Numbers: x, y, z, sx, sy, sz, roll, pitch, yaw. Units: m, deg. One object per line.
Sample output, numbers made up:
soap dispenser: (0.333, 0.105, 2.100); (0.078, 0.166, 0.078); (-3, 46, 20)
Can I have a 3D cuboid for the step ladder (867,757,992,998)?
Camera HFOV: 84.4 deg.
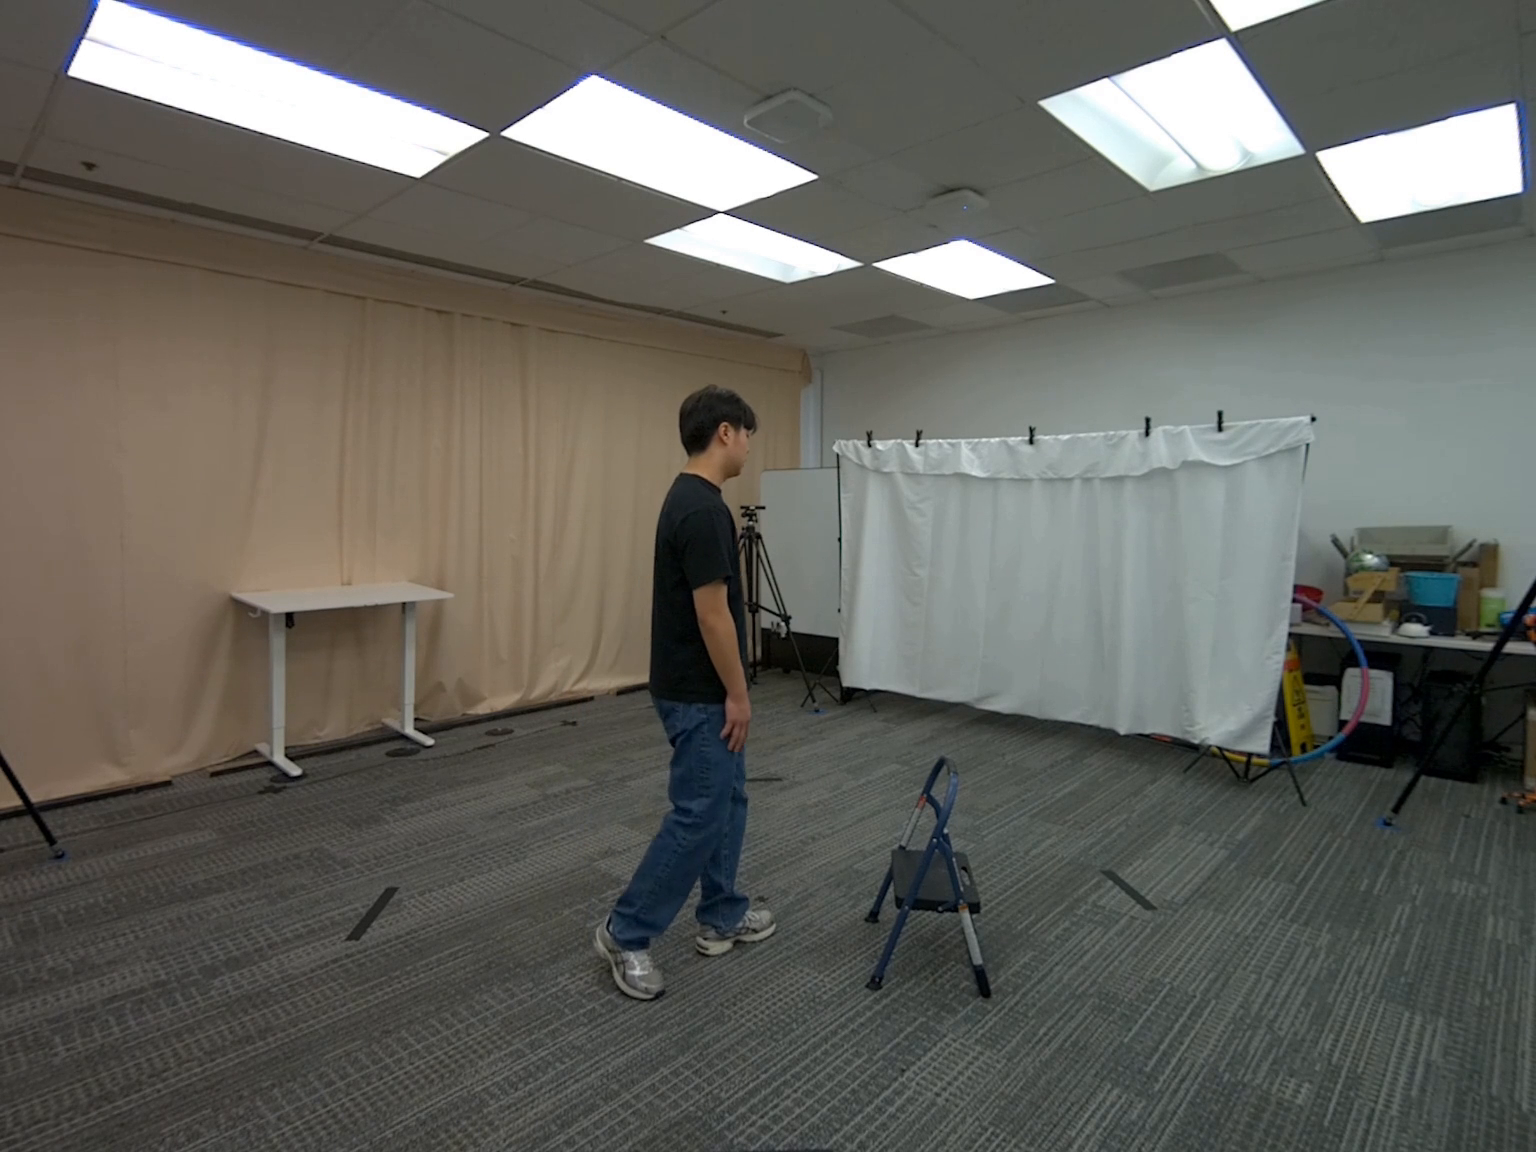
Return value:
step ladder: (0.489, 0.877, 2.586); (0.352, 0.605, 0.428); (1, 4, 7)
